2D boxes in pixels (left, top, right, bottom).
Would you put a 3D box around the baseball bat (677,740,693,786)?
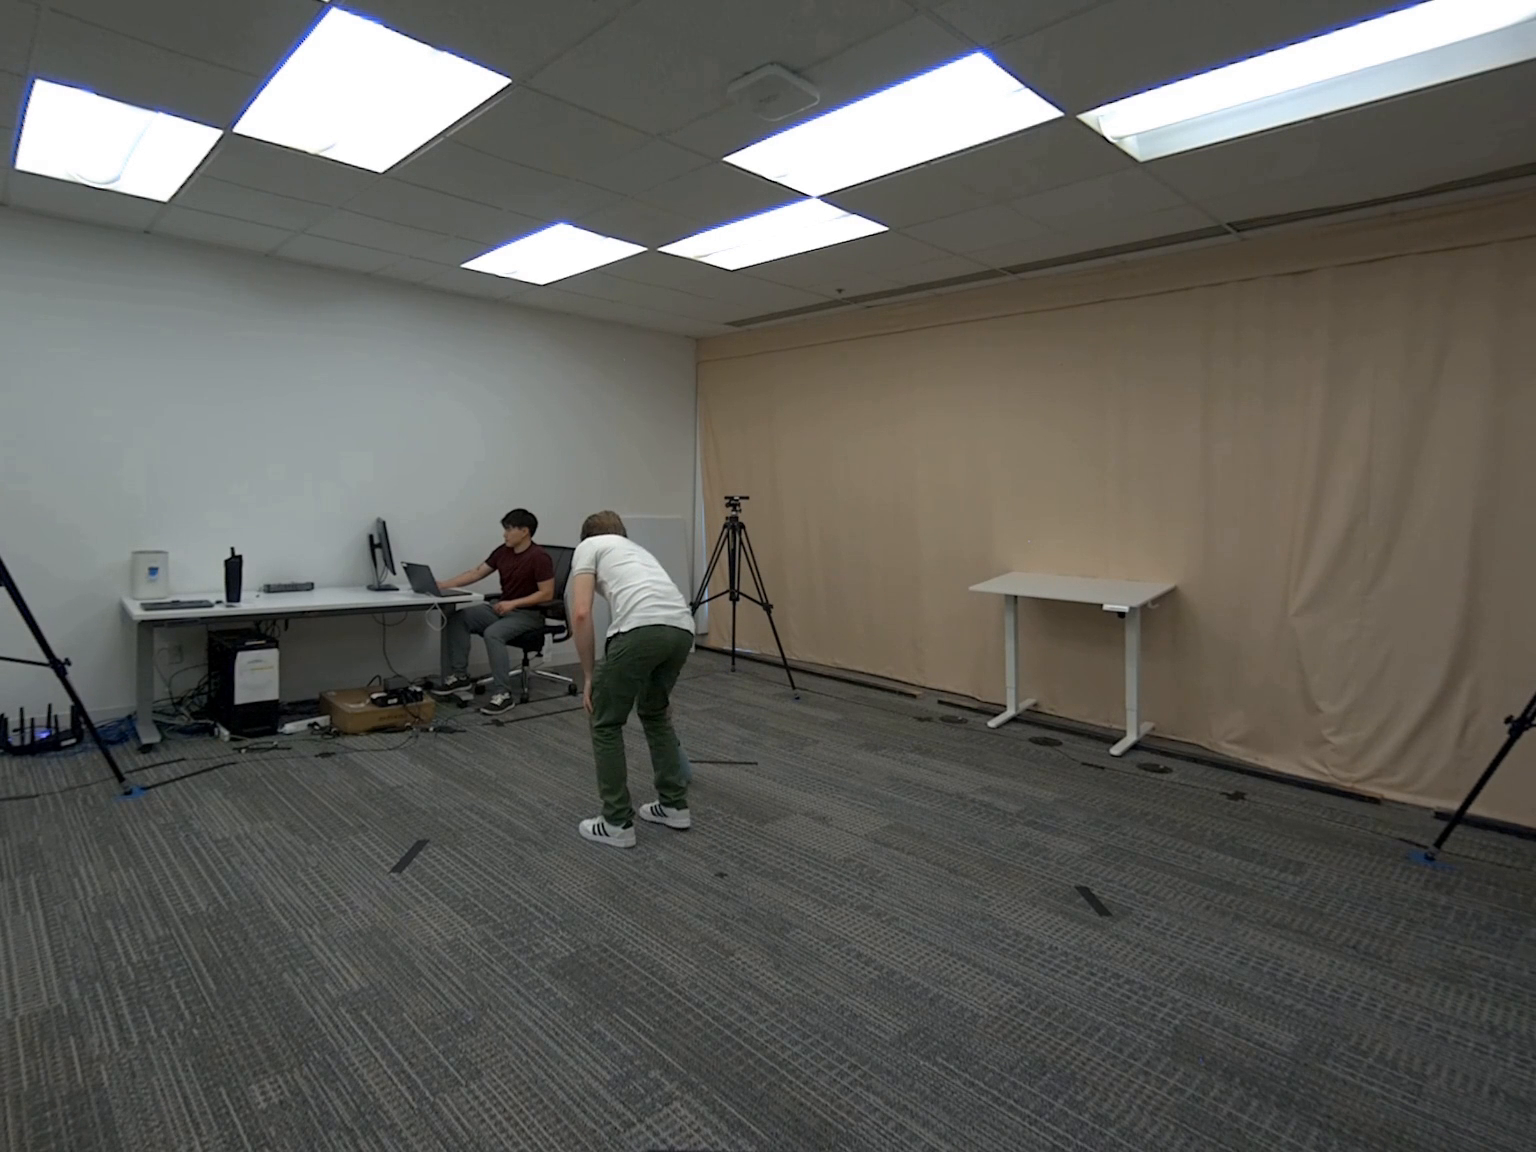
[{"bbox_3d":[-0.461,0.795,3.984,0.089,0.529,0.091,-6,39,4],"label":"baseball bat"}]
